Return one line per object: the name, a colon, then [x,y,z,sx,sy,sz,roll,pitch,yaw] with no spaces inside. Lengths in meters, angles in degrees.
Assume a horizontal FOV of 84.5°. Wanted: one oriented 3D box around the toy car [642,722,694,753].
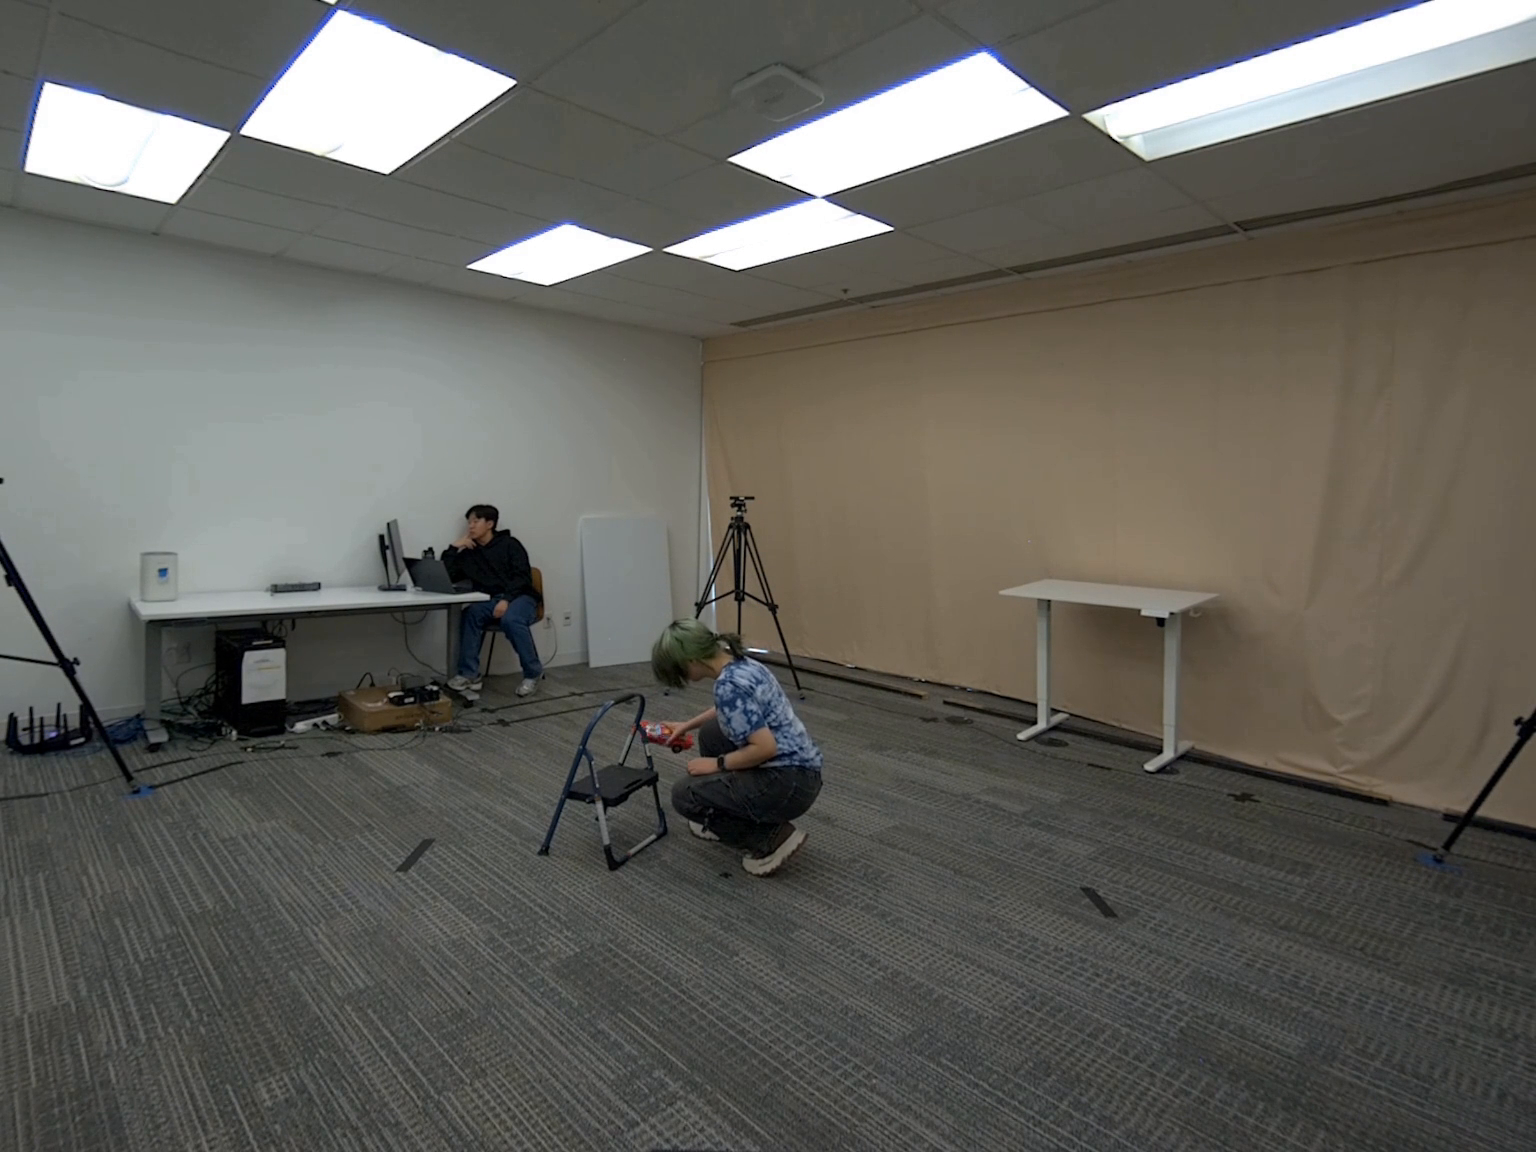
toy car: [-0.445,0.716,3.694,0.251,0.082,0.133,8,22,-14]
